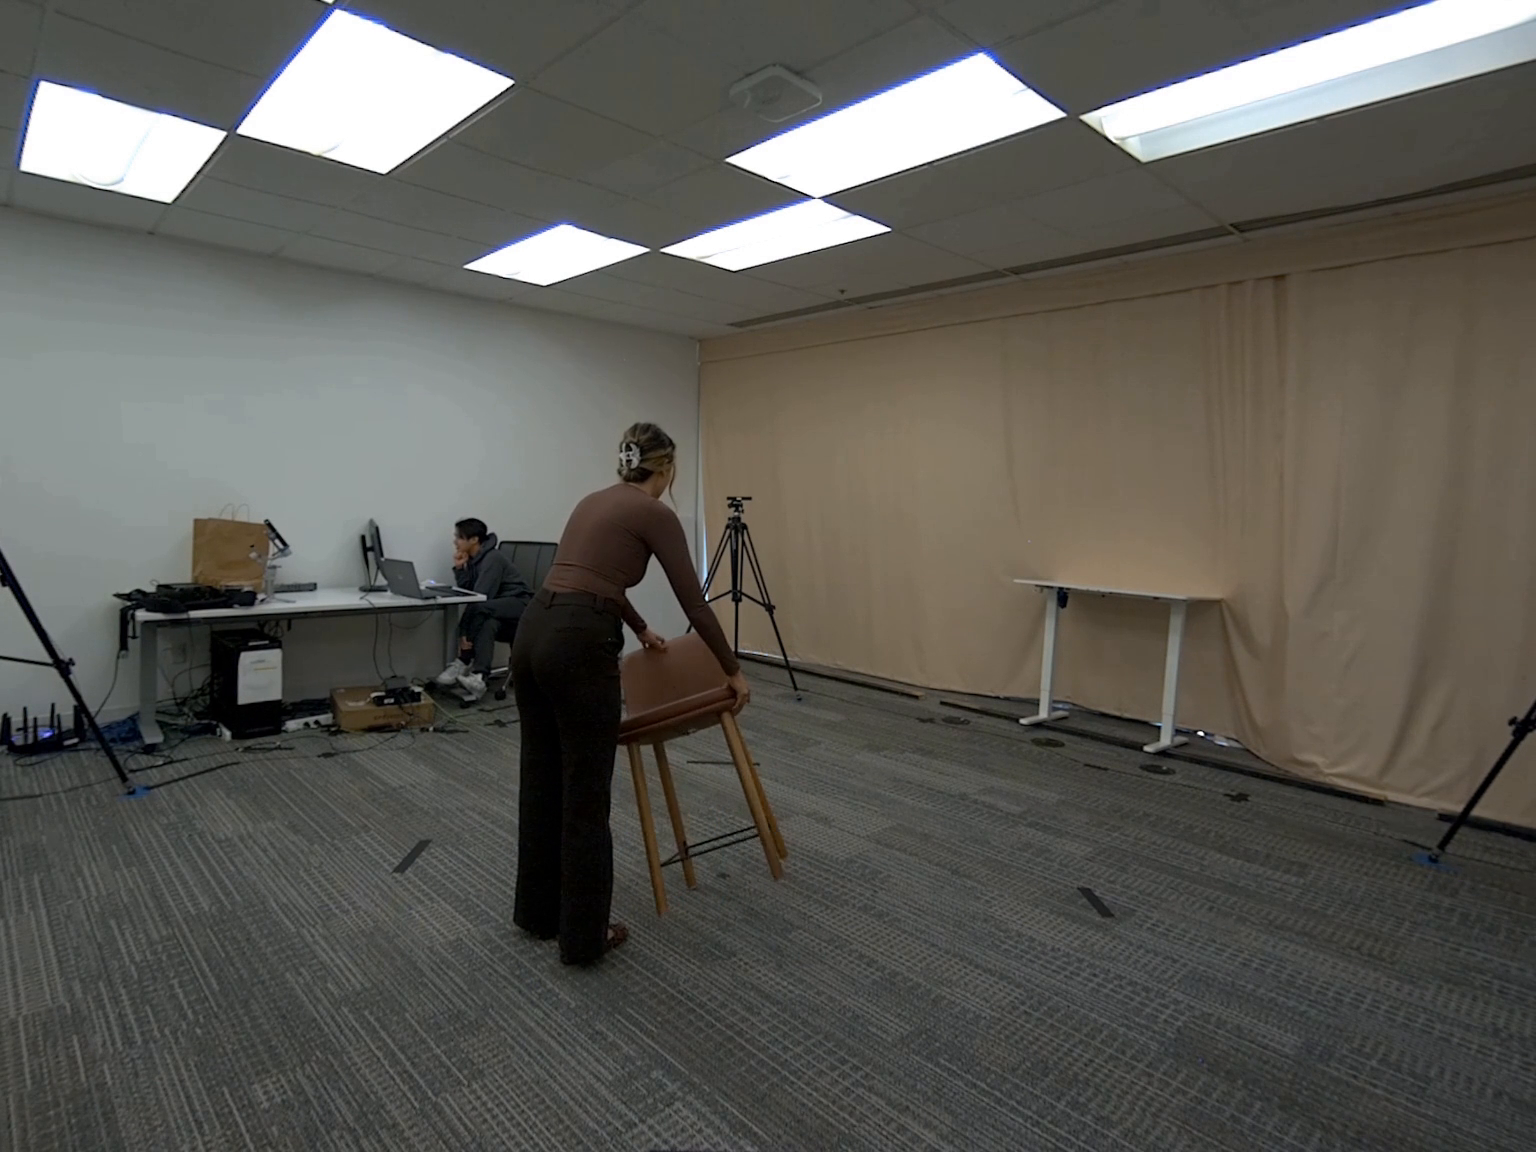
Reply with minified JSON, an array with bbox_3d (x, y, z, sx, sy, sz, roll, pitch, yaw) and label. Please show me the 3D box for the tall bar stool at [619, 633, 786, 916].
[{"bbox_3d":[-0.262,0.620,2.882,0.457,0.902,0.460,-19,-14,3],"label":"tall bar stool"}]
